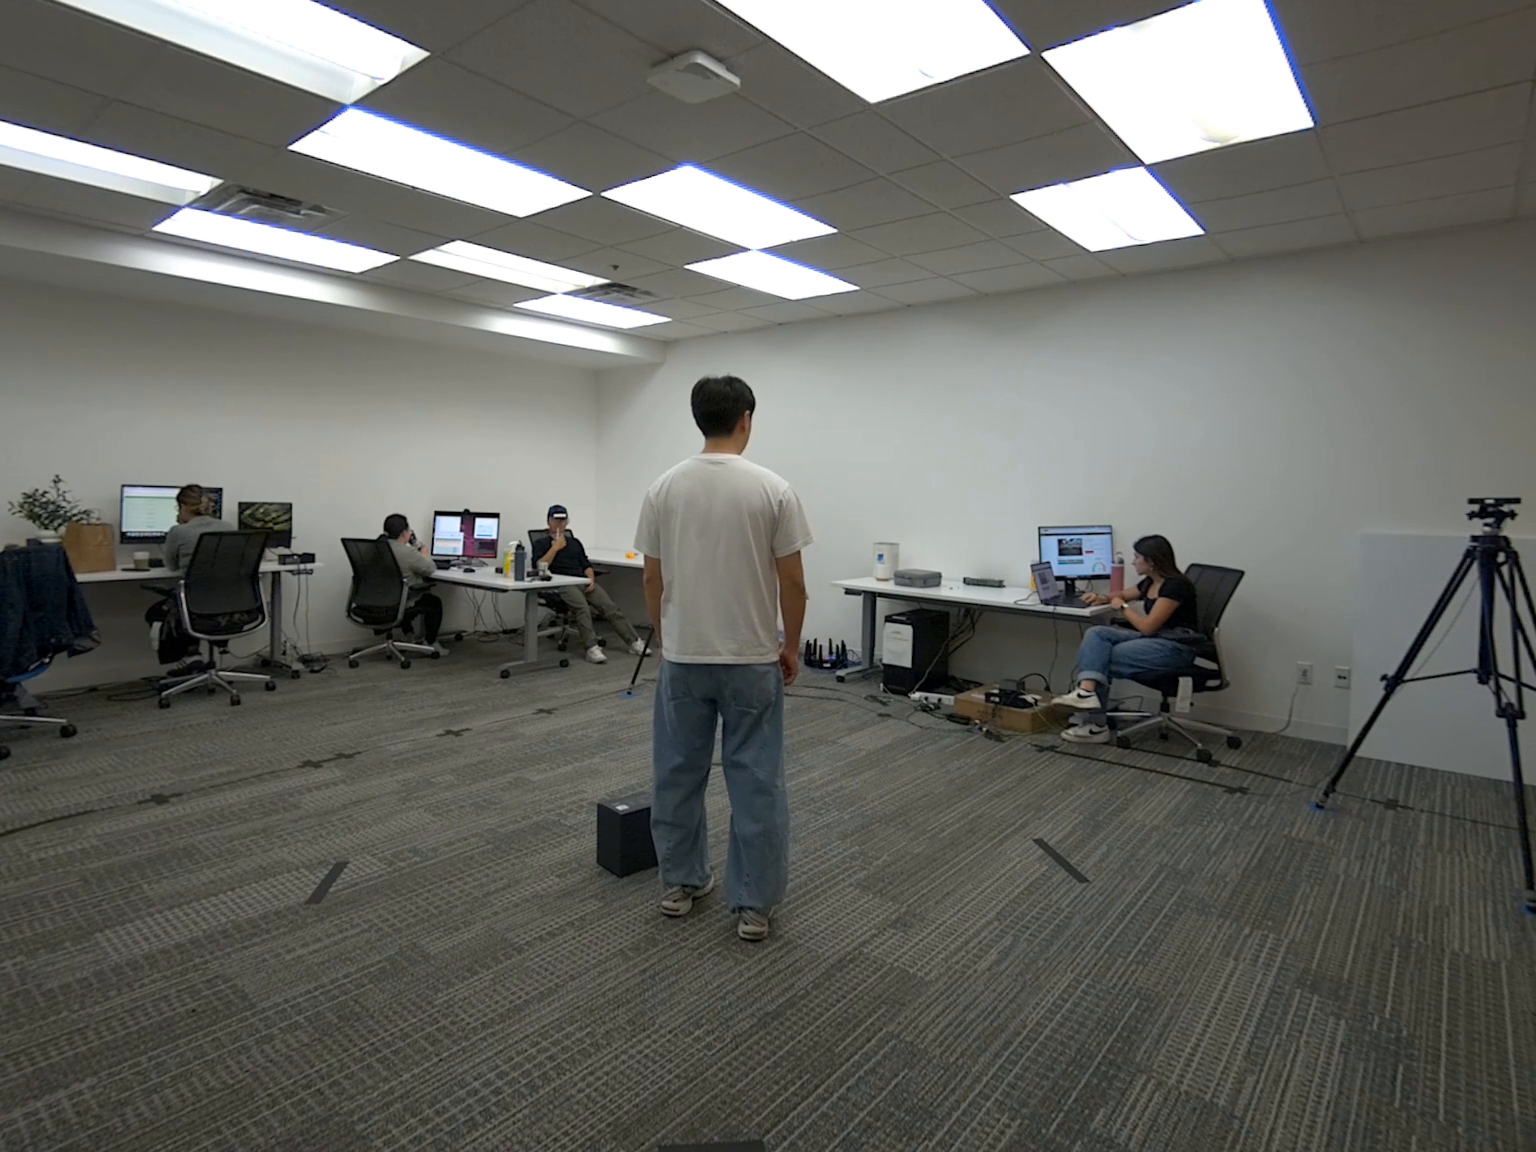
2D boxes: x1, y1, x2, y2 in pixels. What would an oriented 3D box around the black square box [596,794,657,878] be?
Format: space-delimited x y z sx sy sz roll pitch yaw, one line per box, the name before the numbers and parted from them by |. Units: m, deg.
black square box | -0.510 0.940 3.133 0.210 0.227 0.161 -2 4 -43
